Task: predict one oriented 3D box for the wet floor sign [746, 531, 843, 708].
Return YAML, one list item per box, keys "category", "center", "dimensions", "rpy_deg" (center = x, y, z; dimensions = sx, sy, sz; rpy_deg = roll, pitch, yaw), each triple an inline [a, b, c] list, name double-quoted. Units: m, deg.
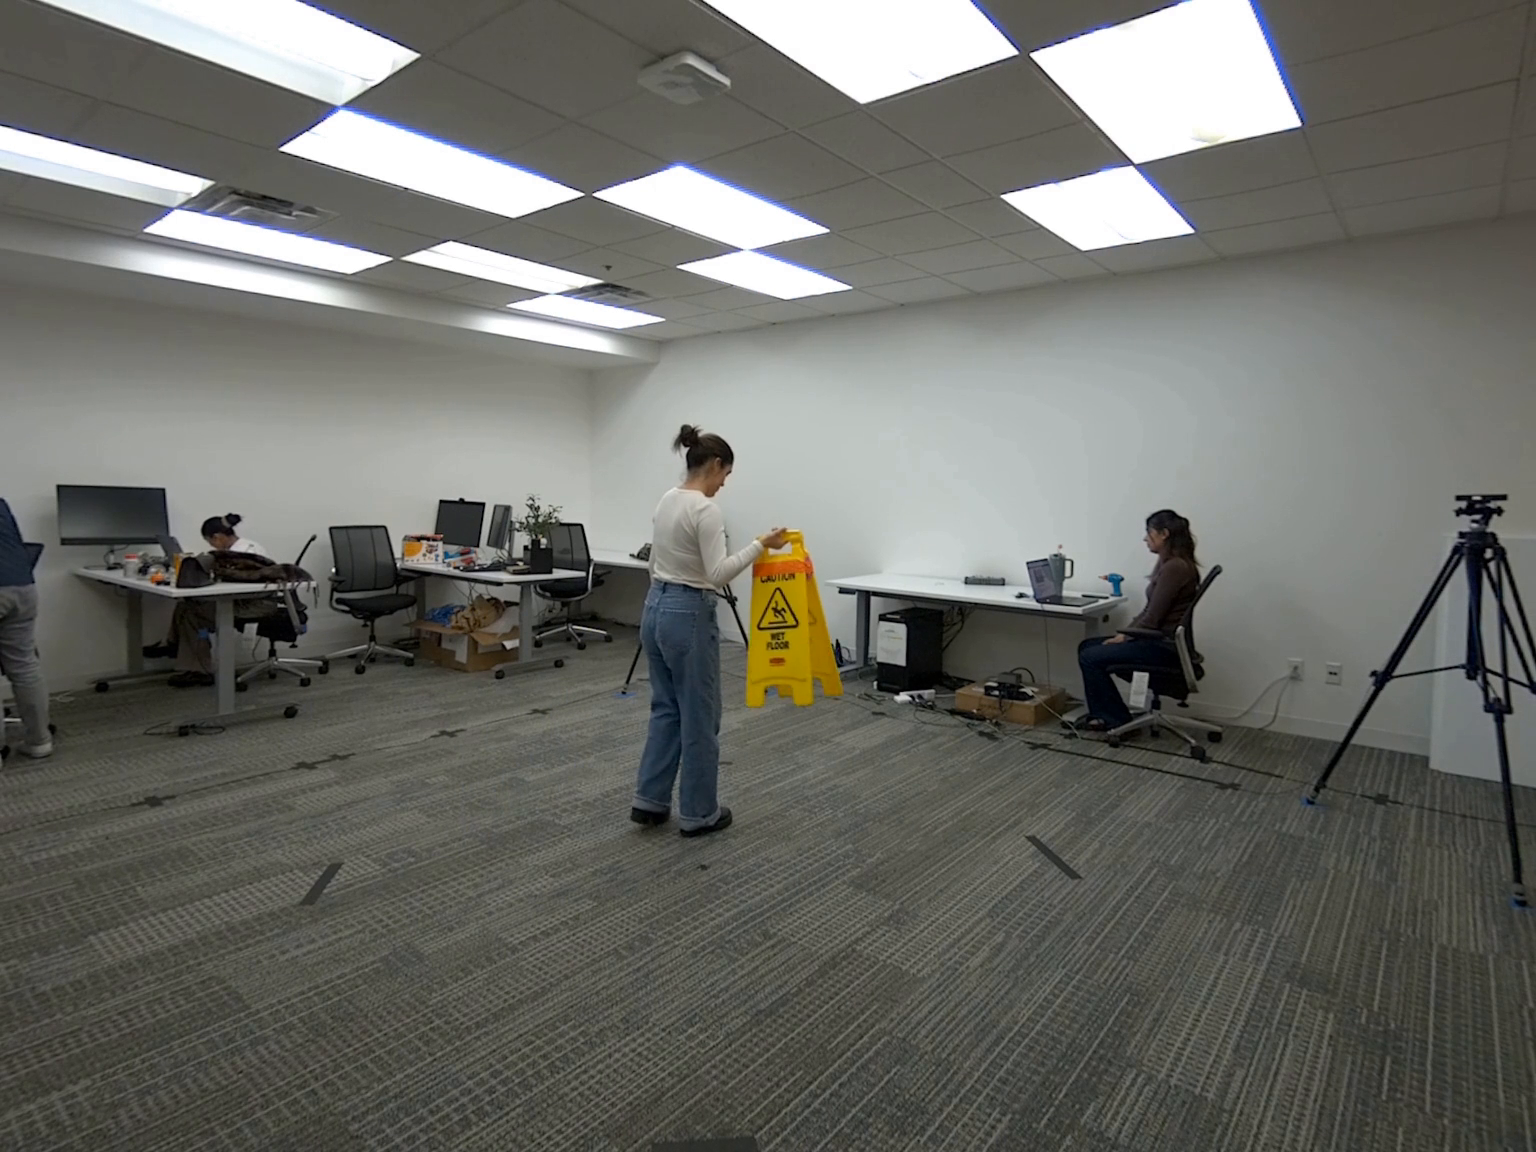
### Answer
- category: "wet floor sign"
  center: [0.057, 0.153, 3.269]
  dimensions: [0.289, 0.650, 0.281]
  rpy_deg: [-9, -5, 30]
